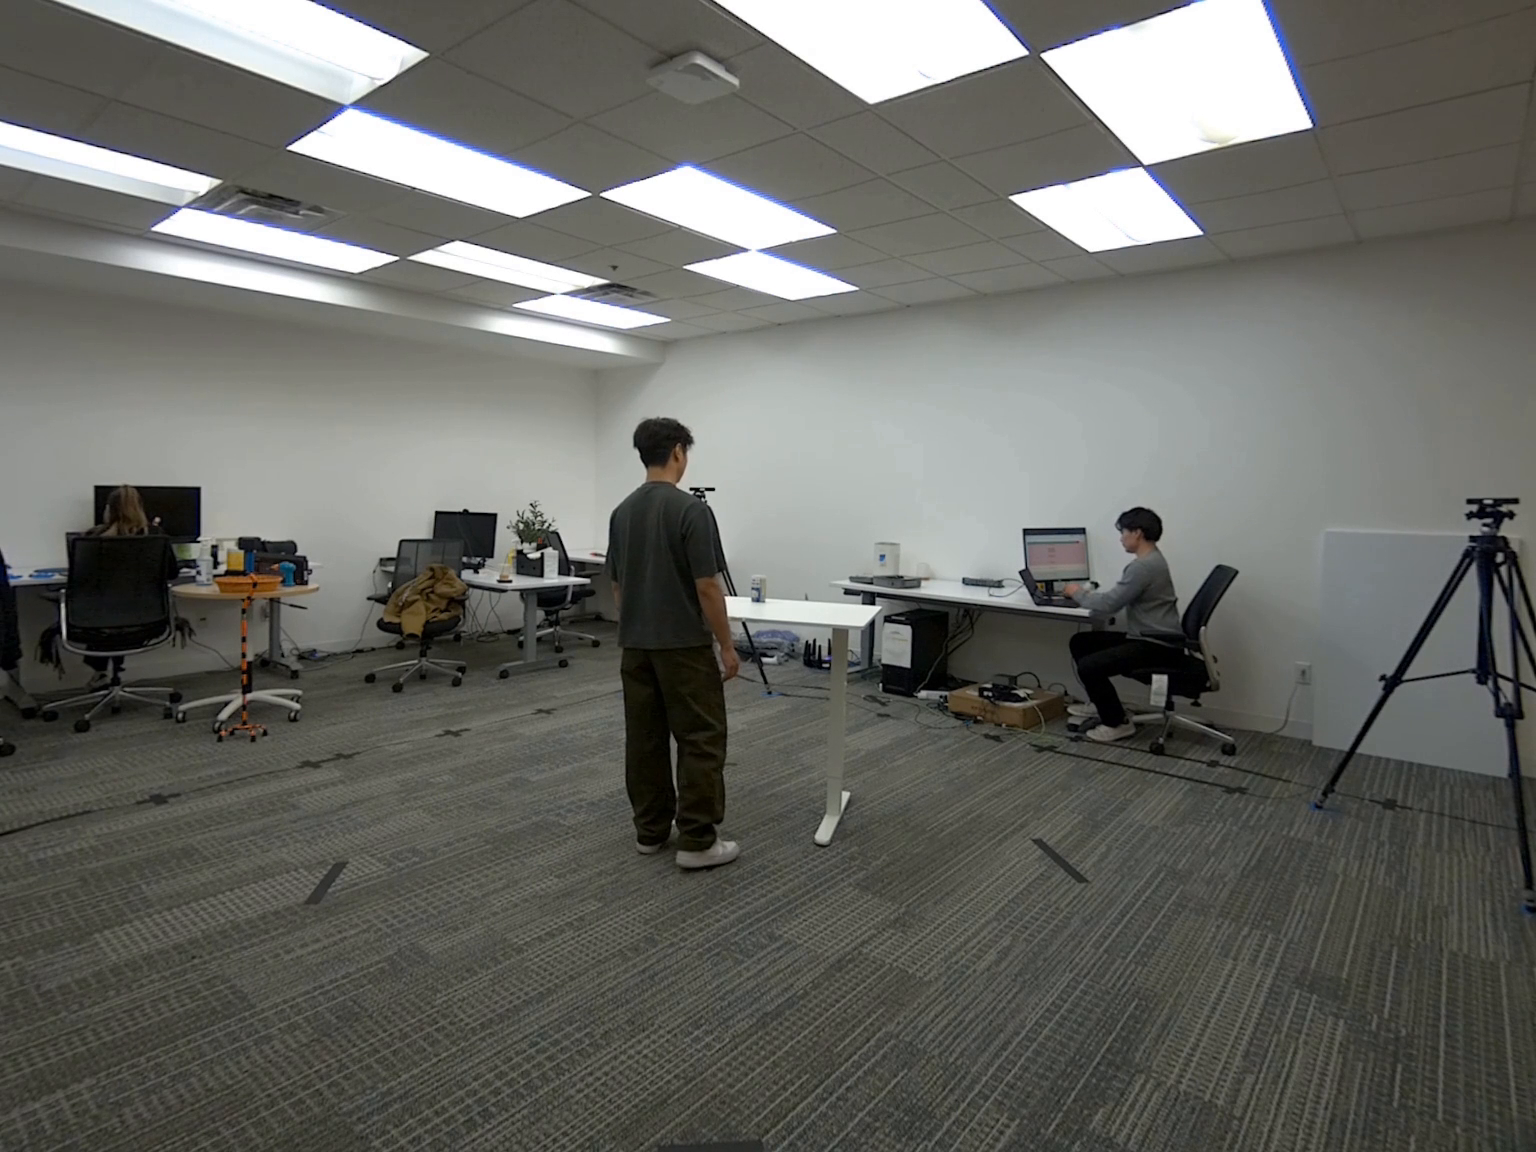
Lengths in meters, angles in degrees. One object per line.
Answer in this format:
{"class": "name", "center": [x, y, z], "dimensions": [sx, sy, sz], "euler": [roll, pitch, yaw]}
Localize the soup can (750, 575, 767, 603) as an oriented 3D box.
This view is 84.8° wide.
{"class": "soup can", "center": [-0.056, 0.055, 3.853], "dimensions": [0.067, 0.121, 0.067], "euler": [0, 1, -2]}
